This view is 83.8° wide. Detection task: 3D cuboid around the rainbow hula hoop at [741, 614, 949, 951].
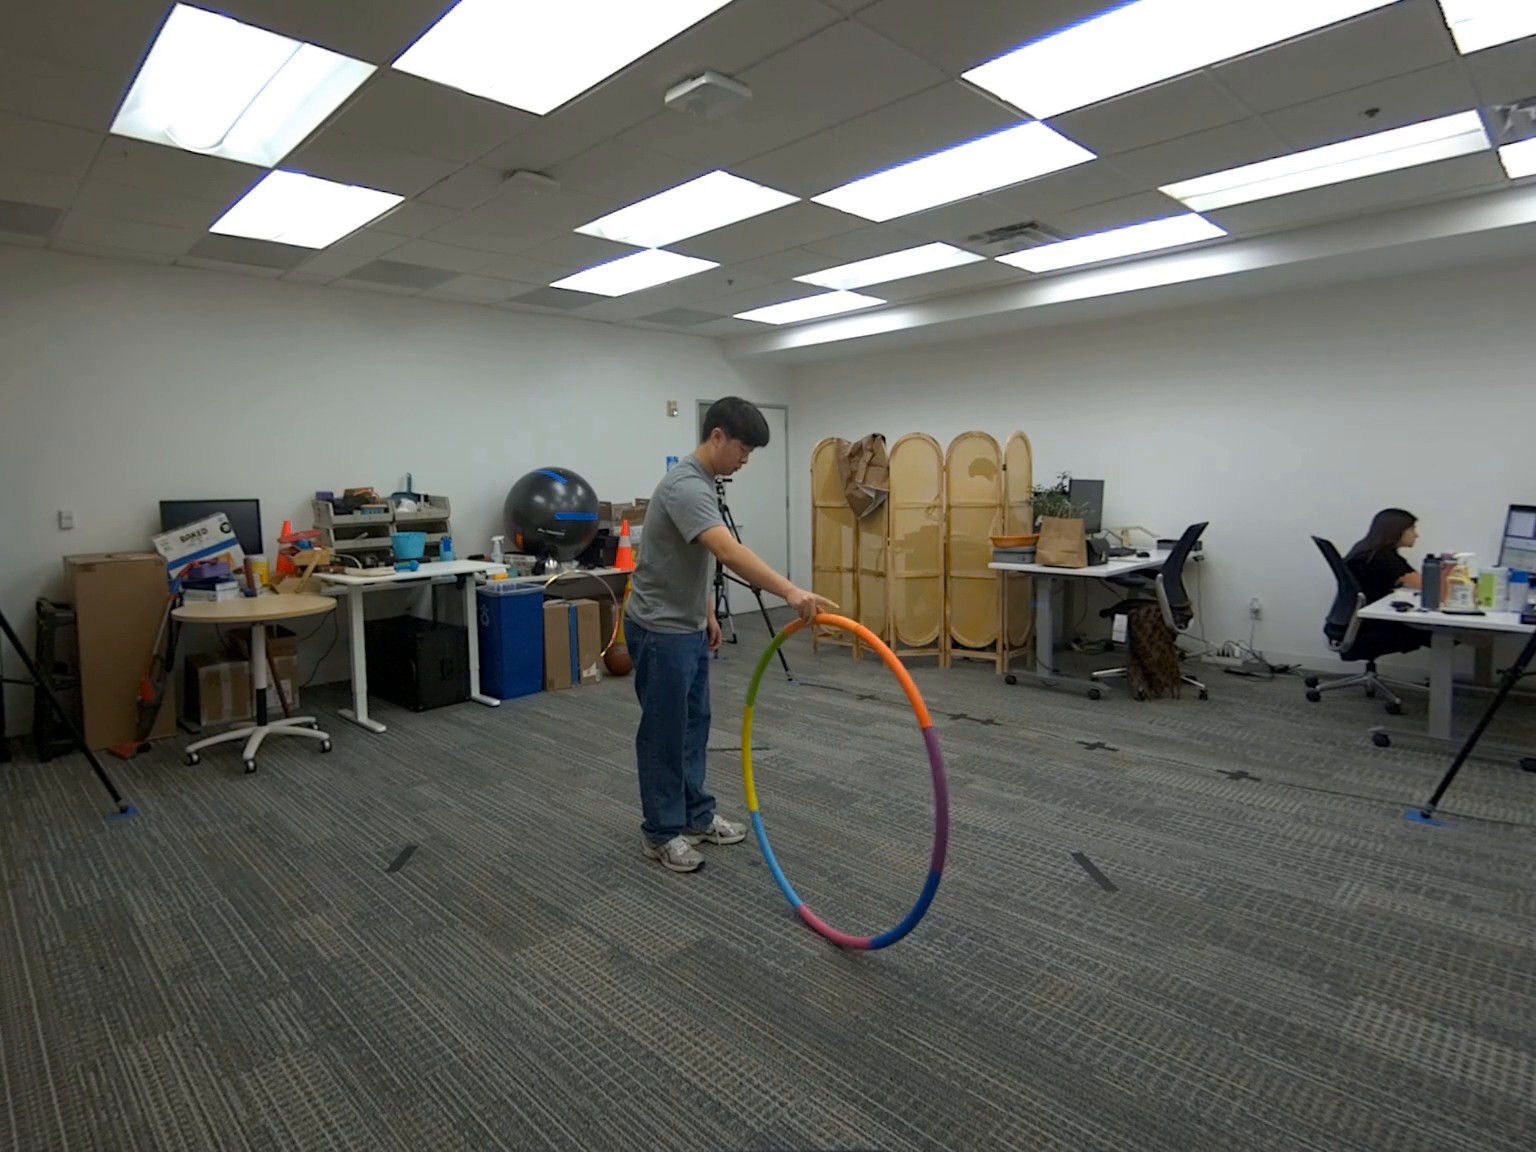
[{"bbox_3d":[0.184,0.611,2.613,0.034,0.977,1.006,1,3,-32],"label":"rainbow hula hoop"}]
